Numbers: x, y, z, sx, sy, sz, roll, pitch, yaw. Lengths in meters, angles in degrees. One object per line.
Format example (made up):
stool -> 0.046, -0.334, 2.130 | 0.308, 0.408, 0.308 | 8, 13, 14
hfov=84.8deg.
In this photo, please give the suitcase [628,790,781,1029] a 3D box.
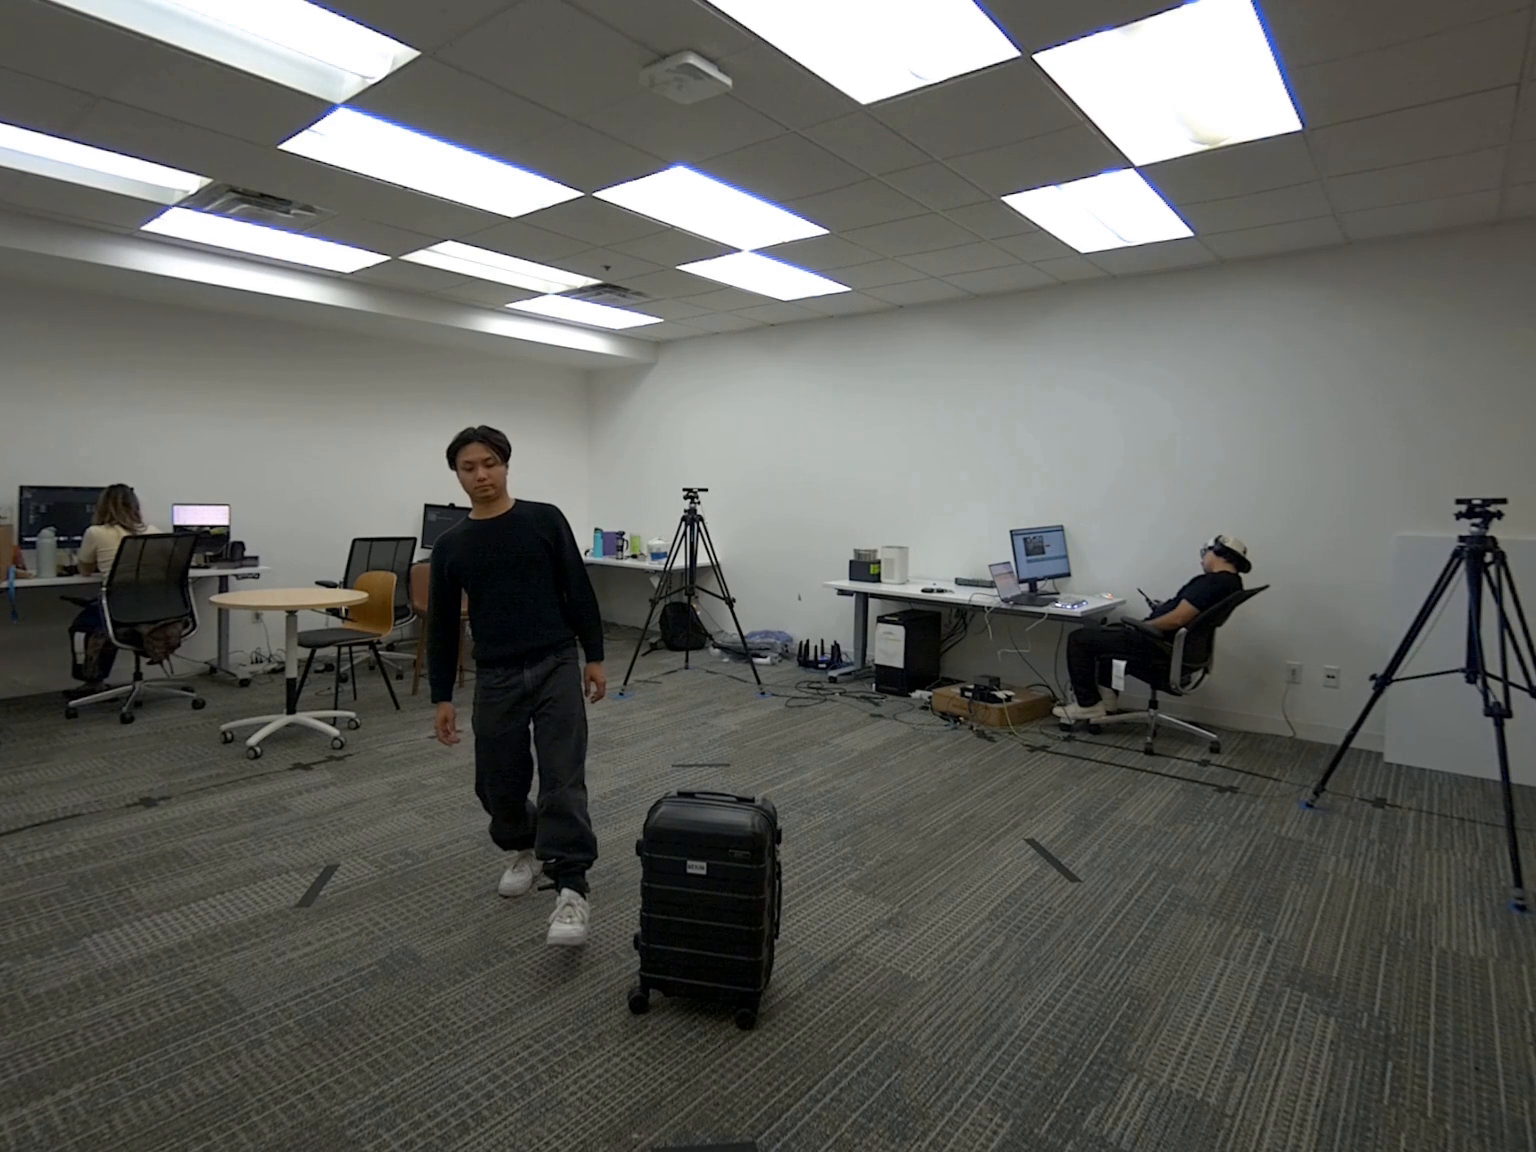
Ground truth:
suitcase -> -0.167, 0.874, 2.318 | 0.380, 0.548, 0.246 | 3, 3, 11
